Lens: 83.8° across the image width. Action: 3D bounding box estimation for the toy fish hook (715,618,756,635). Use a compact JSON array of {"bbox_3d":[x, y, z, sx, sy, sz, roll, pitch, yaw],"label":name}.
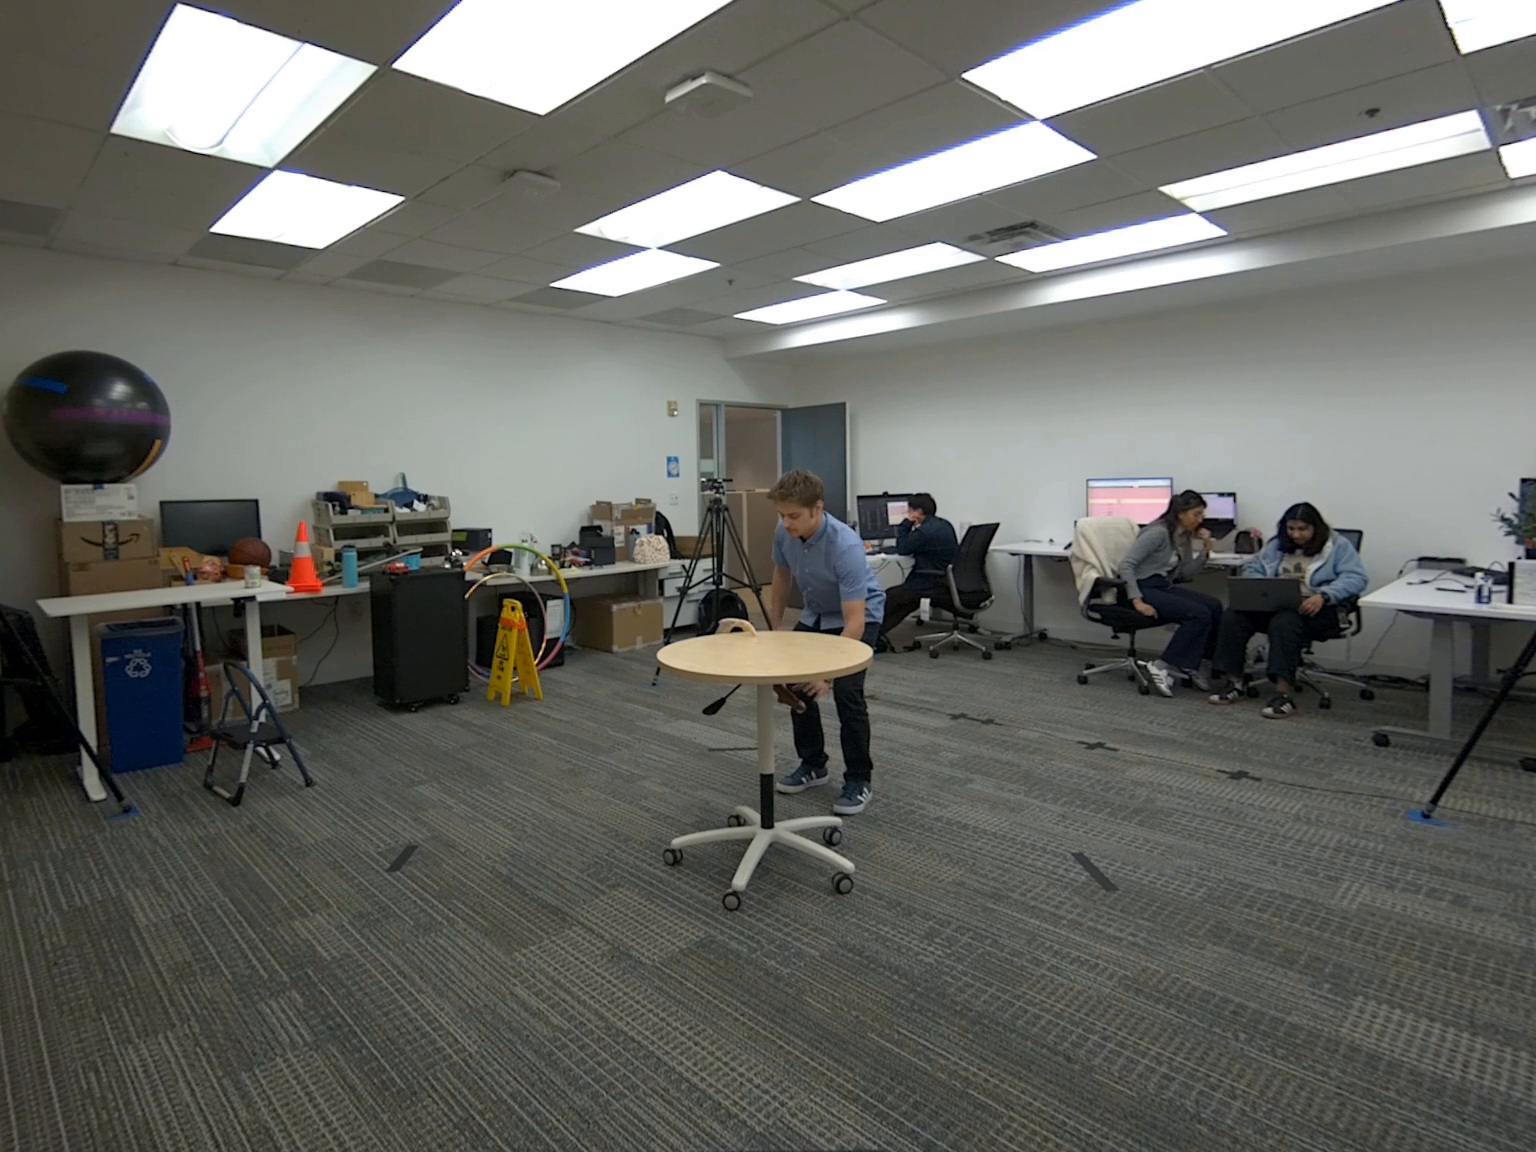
[{"bbox_3d":[-0.028,0.336,3.311,0.047,0.221,0.526,-14,35,-42],"label":"toy fish hook"}]
